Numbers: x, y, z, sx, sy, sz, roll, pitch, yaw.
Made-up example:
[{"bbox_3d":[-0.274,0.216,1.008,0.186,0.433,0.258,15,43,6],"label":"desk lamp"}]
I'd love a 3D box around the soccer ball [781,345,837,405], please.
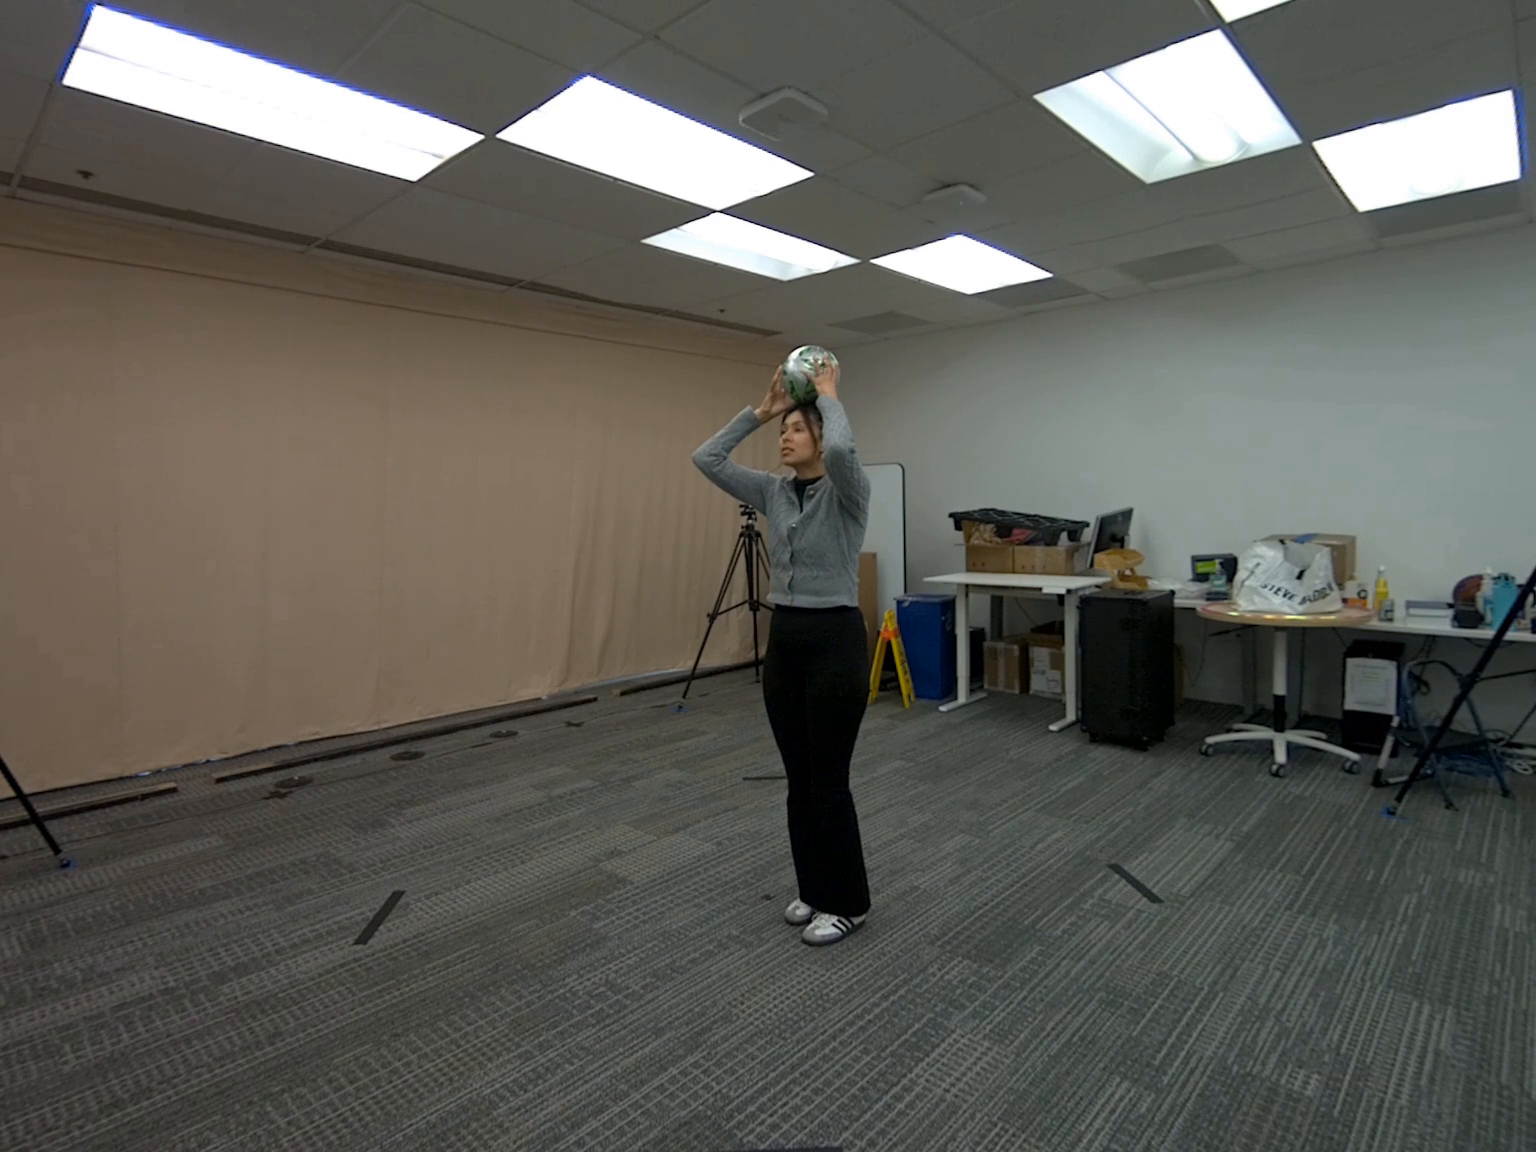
[{"bbox_3d":[0.142,-0.644,2.705,0.187,0.187,0.188,-1,4,-2],"label":"soccer ball"}]
